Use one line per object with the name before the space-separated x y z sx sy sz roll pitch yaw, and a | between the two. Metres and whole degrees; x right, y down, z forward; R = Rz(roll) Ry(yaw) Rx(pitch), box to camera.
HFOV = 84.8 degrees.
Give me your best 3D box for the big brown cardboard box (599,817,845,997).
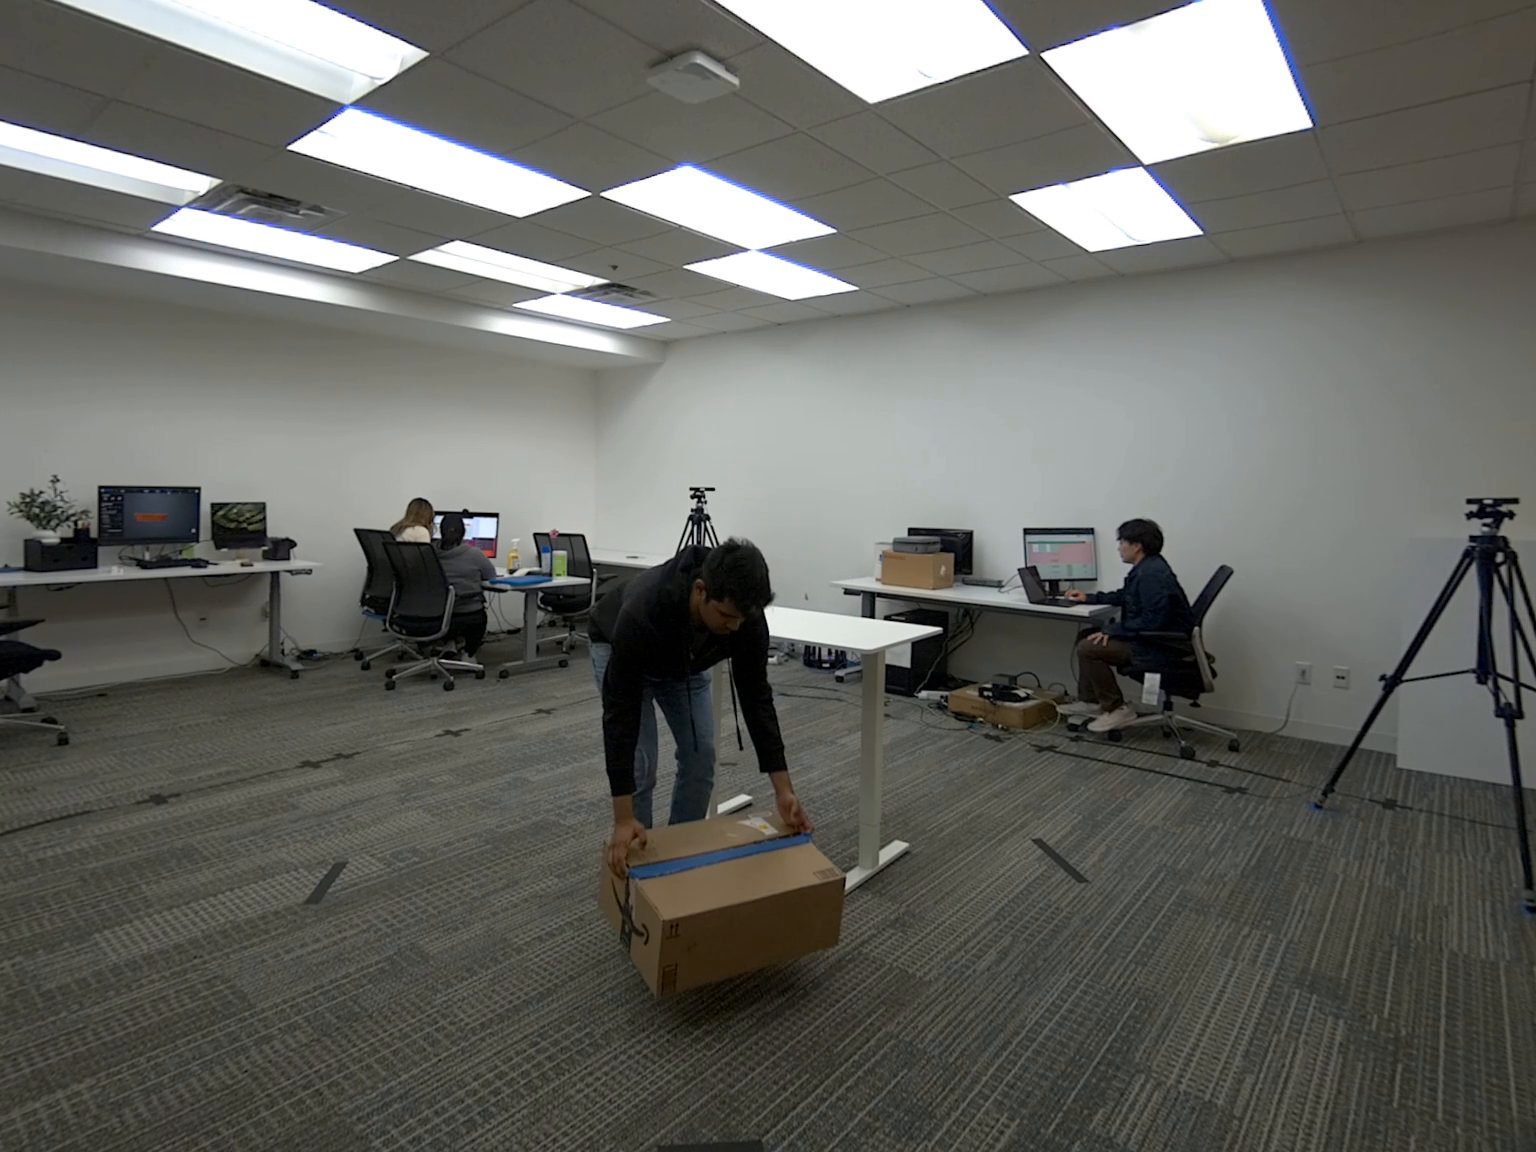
big brown cardboard box | -0.133 0.879 2.400 0.573 0.231 0.432 -2 12 -31
